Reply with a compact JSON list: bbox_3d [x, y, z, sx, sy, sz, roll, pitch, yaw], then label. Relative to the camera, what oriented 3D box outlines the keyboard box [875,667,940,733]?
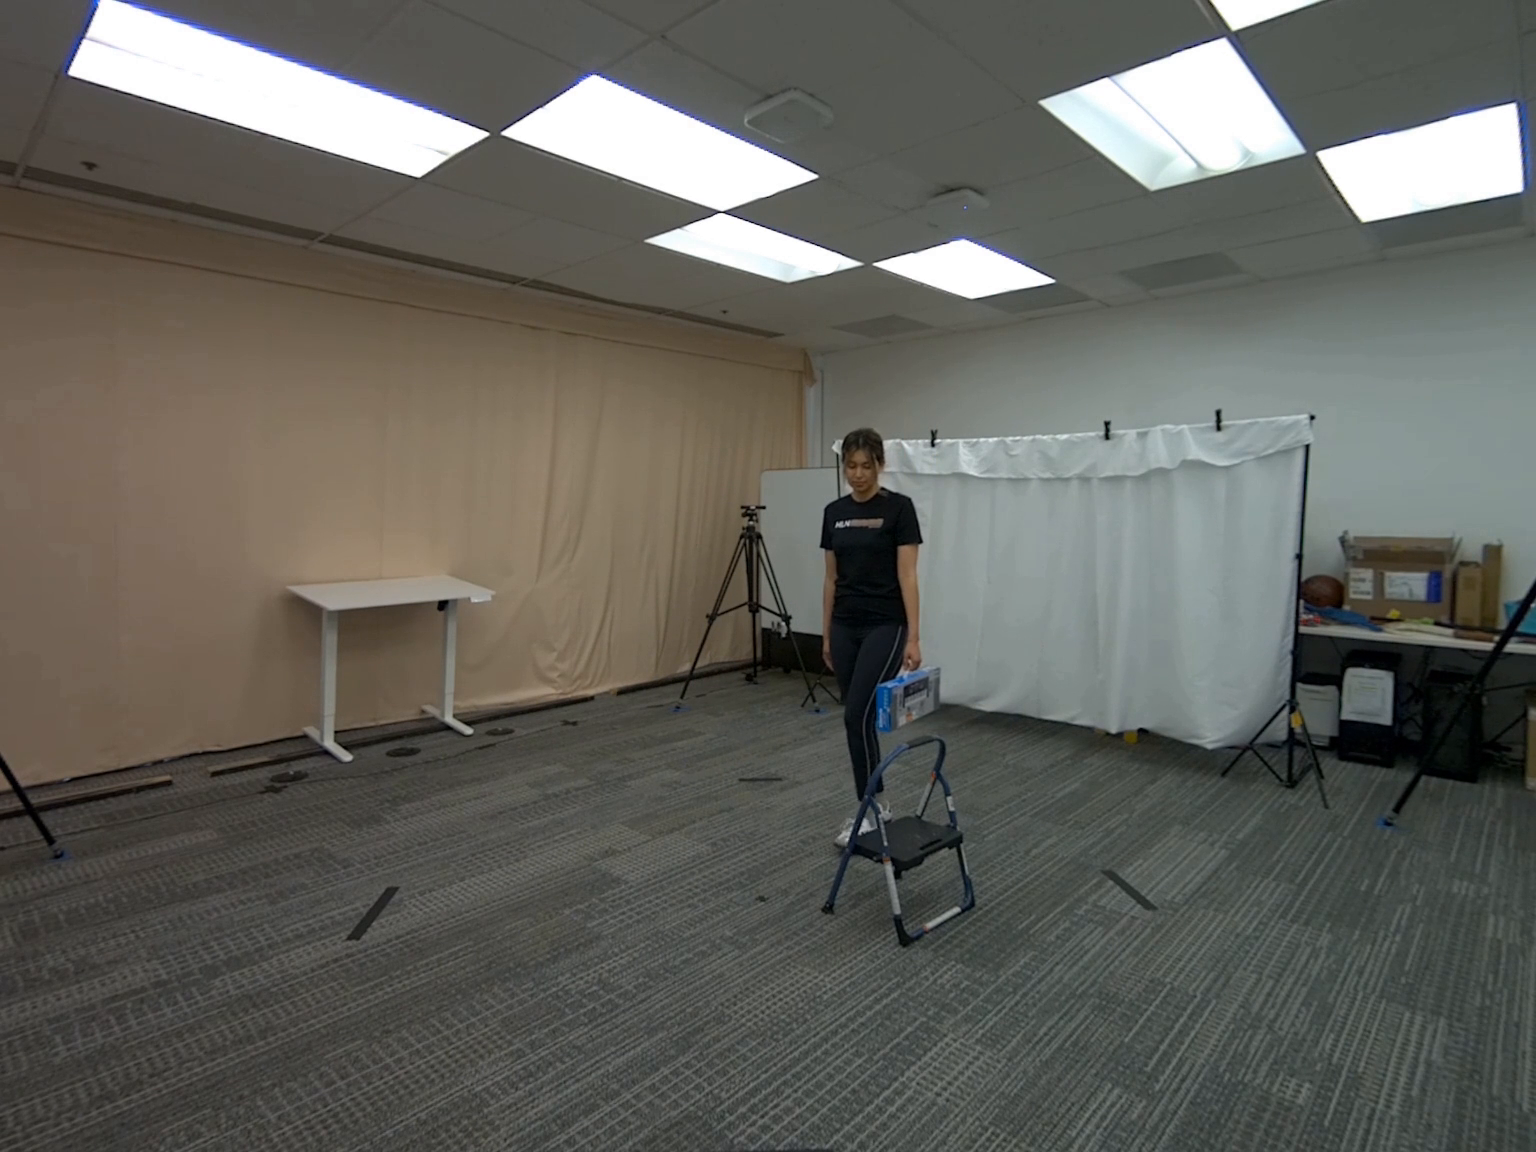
[{"bbox_3d":[0.568,0.483,3.341,0.061,0.175,0.424,3,7,37],"label":"keyboard box"}]
